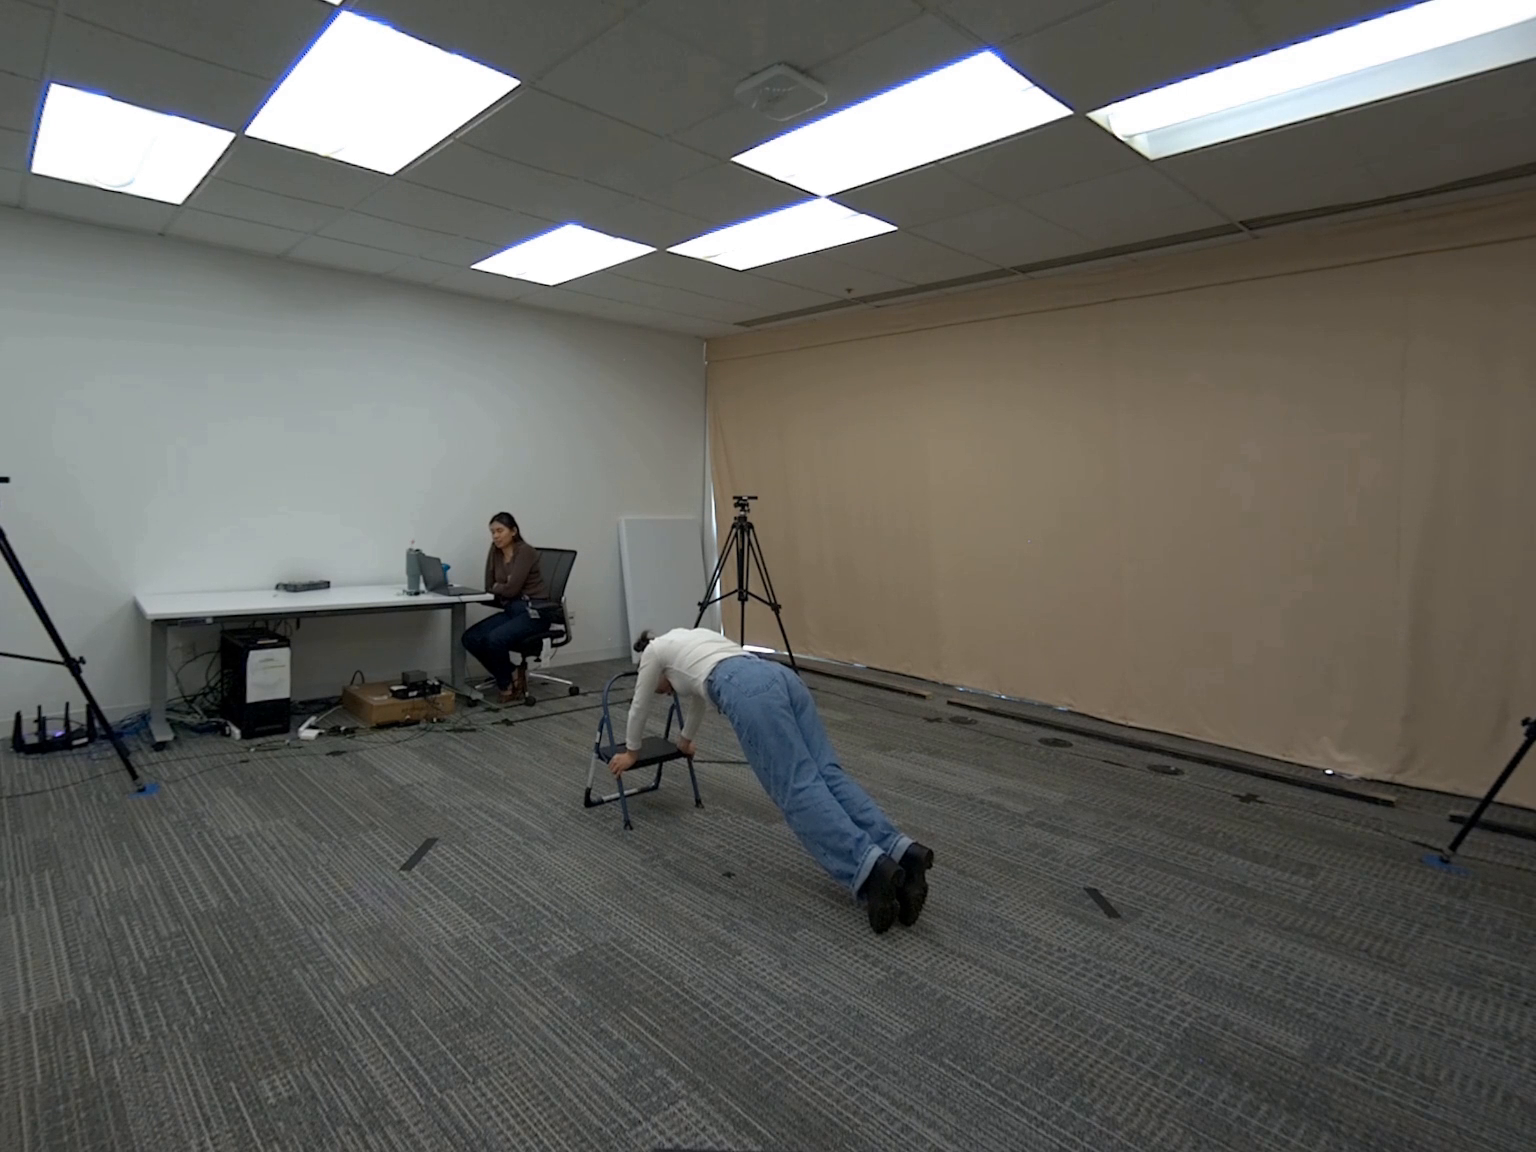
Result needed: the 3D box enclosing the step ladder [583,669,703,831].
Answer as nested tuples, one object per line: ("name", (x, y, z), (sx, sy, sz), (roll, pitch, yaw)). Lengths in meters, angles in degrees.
("step ladder", (-0.558, 0.735, 3.754), (0.358, 0.605, 0.421), (5, 5, 45))
